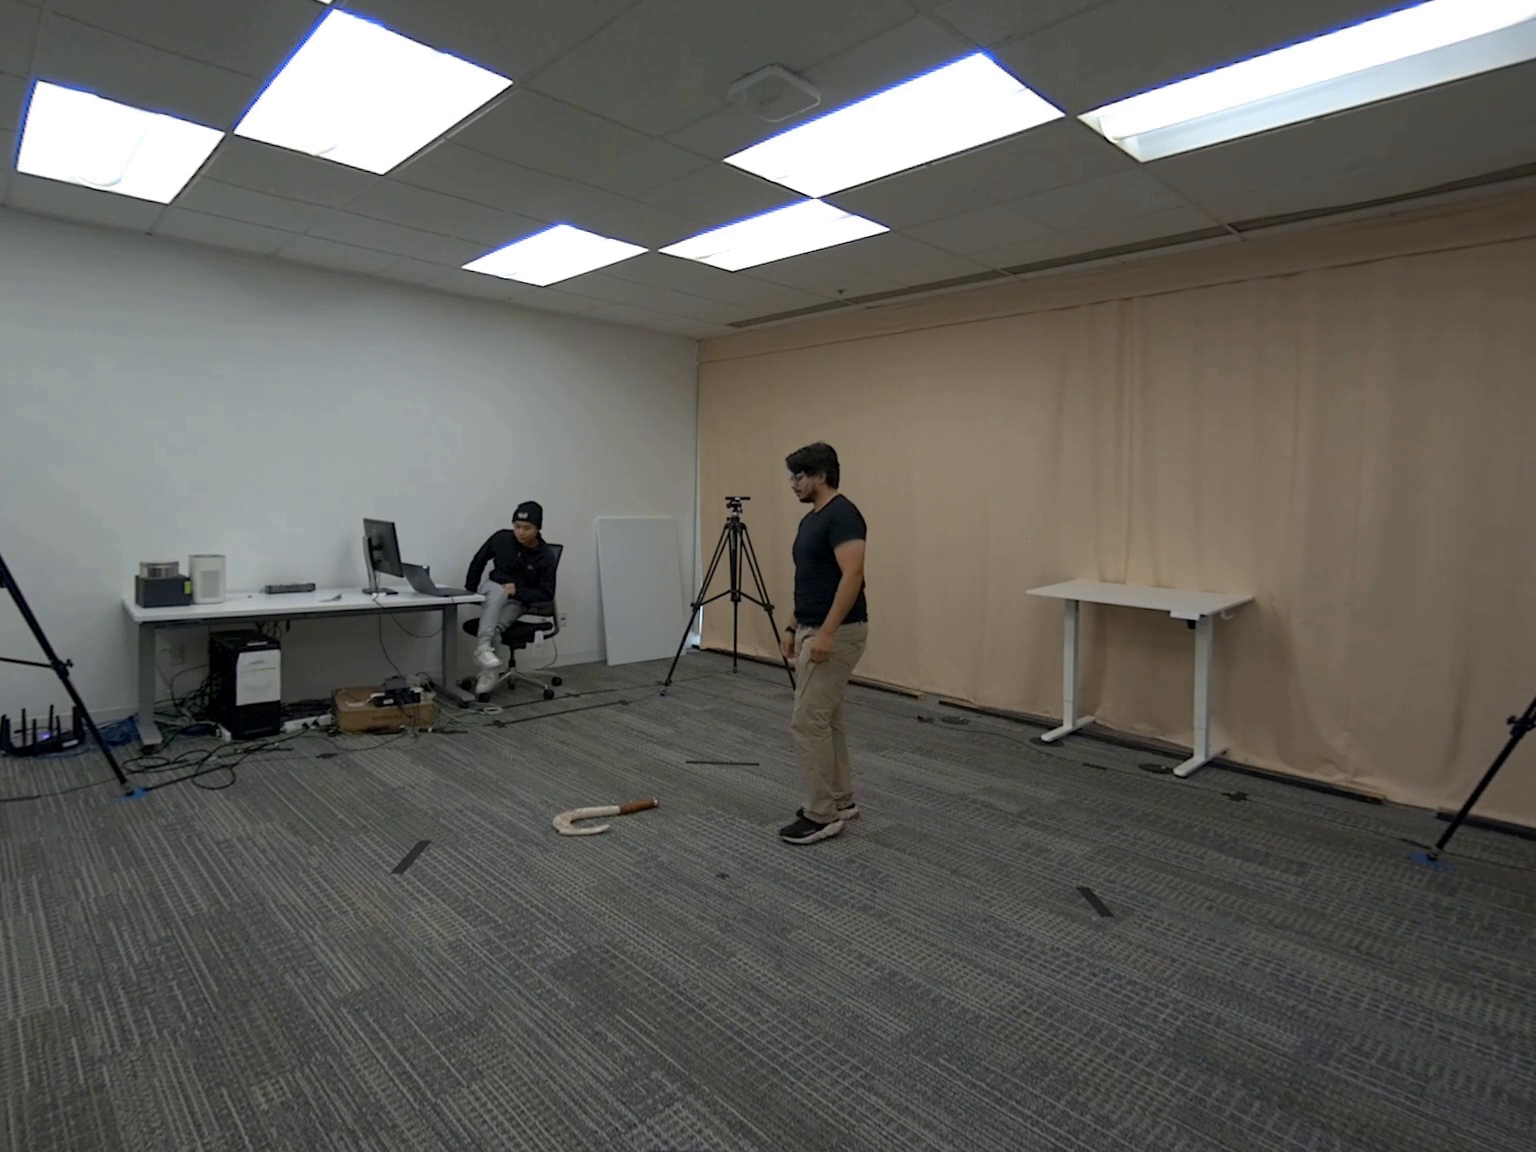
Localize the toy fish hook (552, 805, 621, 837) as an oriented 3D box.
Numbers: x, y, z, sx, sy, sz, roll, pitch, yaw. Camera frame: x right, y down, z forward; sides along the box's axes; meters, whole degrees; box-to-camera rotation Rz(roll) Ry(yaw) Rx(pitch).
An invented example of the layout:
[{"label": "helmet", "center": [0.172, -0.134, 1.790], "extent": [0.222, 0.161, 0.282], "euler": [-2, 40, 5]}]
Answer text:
[{"label": "toy fish hook", "center": [-0.681, 1.036, 3.612], "extent": [0.496, 0.048, 0.231], "euler": [-3, 13, -35]}]
